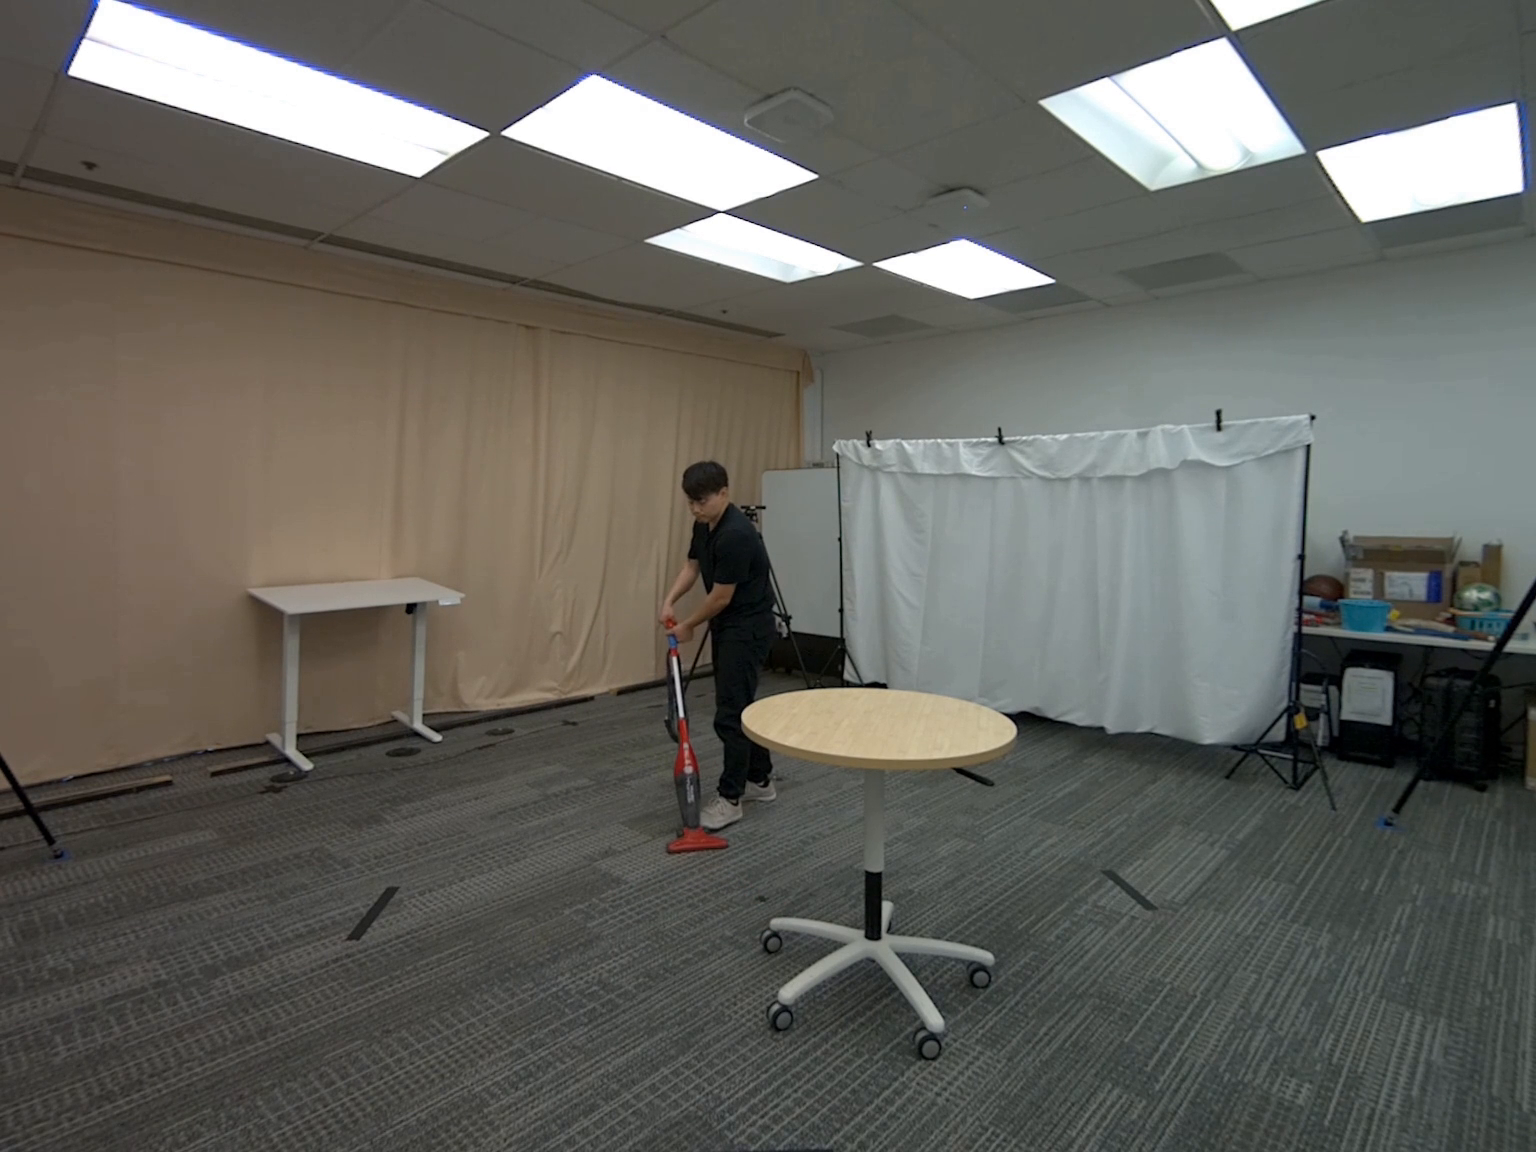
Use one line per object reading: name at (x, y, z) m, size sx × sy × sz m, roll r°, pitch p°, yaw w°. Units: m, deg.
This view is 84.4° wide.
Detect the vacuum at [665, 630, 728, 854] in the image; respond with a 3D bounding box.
vacuum at (-0.387, 0.662, 3.722) m, size 0.250 × 1.073 × 0.142 m, roll -5°, pitch -33°, yaw -10°
